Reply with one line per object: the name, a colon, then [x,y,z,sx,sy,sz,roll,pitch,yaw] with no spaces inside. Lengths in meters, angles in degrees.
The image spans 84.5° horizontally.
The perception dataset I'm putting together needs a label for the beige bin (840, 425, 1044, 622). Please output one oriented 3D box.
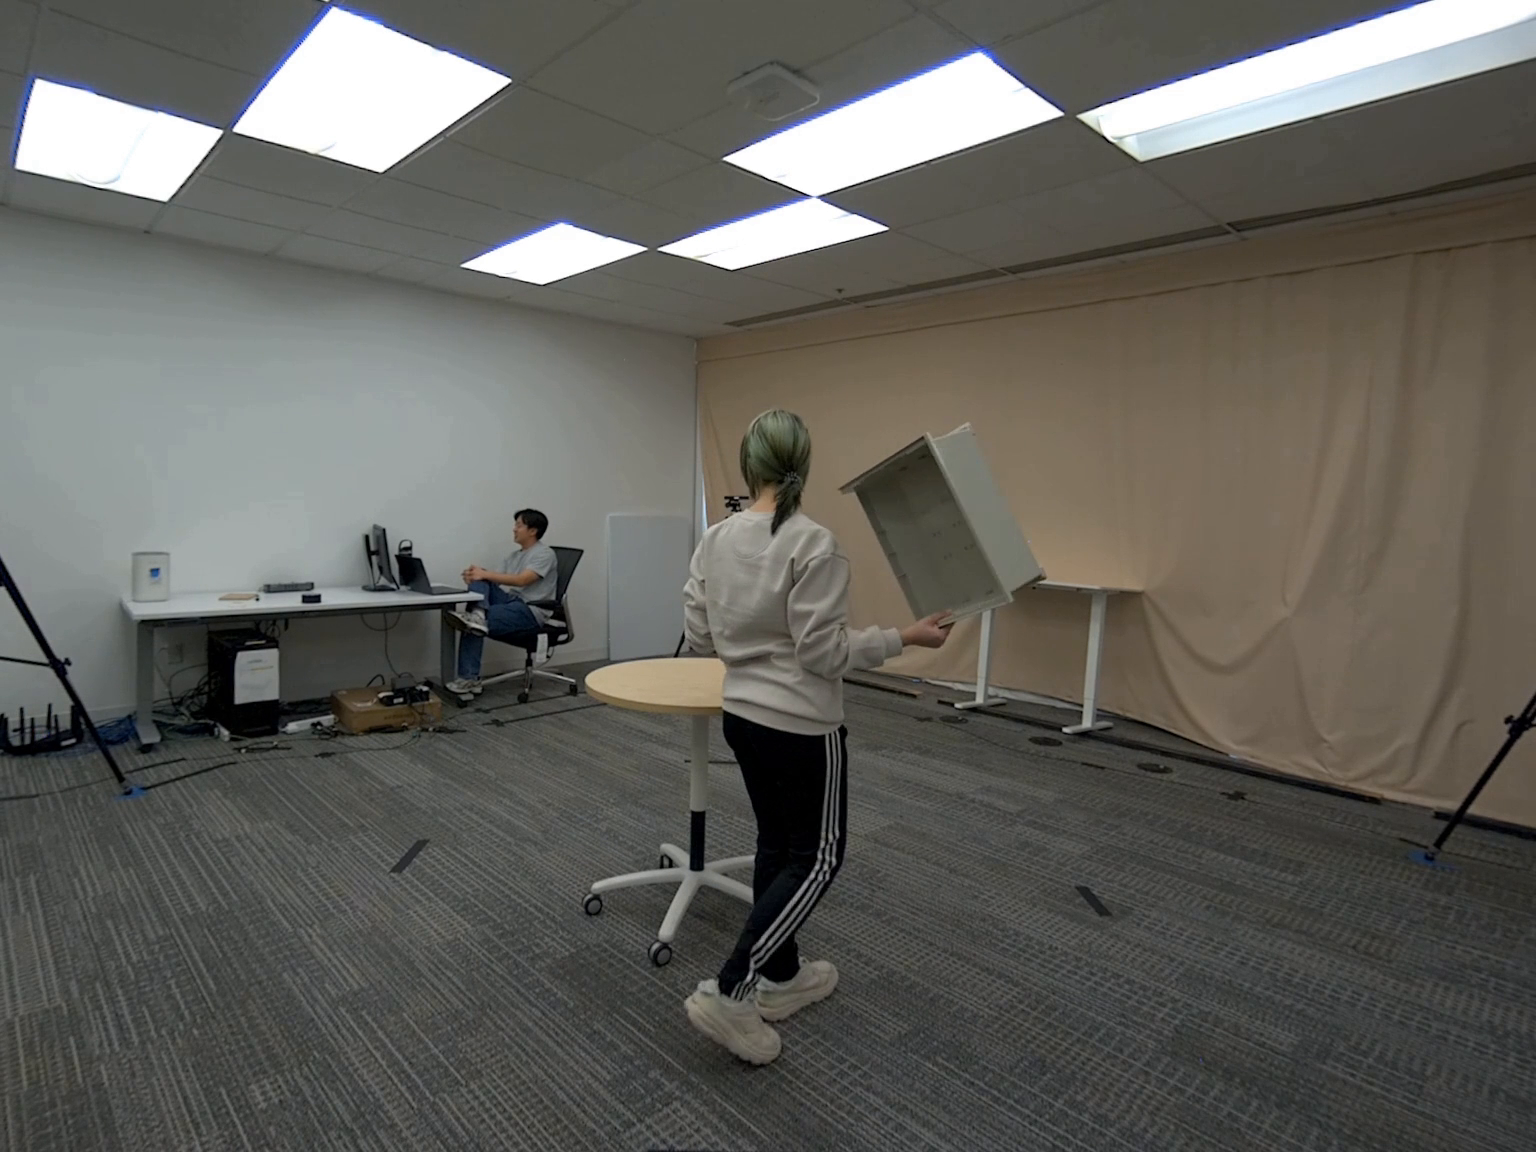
beige bin: [0.398,-0.102,2.074,0.186,0.426,0.380,-18,-9,-38]
